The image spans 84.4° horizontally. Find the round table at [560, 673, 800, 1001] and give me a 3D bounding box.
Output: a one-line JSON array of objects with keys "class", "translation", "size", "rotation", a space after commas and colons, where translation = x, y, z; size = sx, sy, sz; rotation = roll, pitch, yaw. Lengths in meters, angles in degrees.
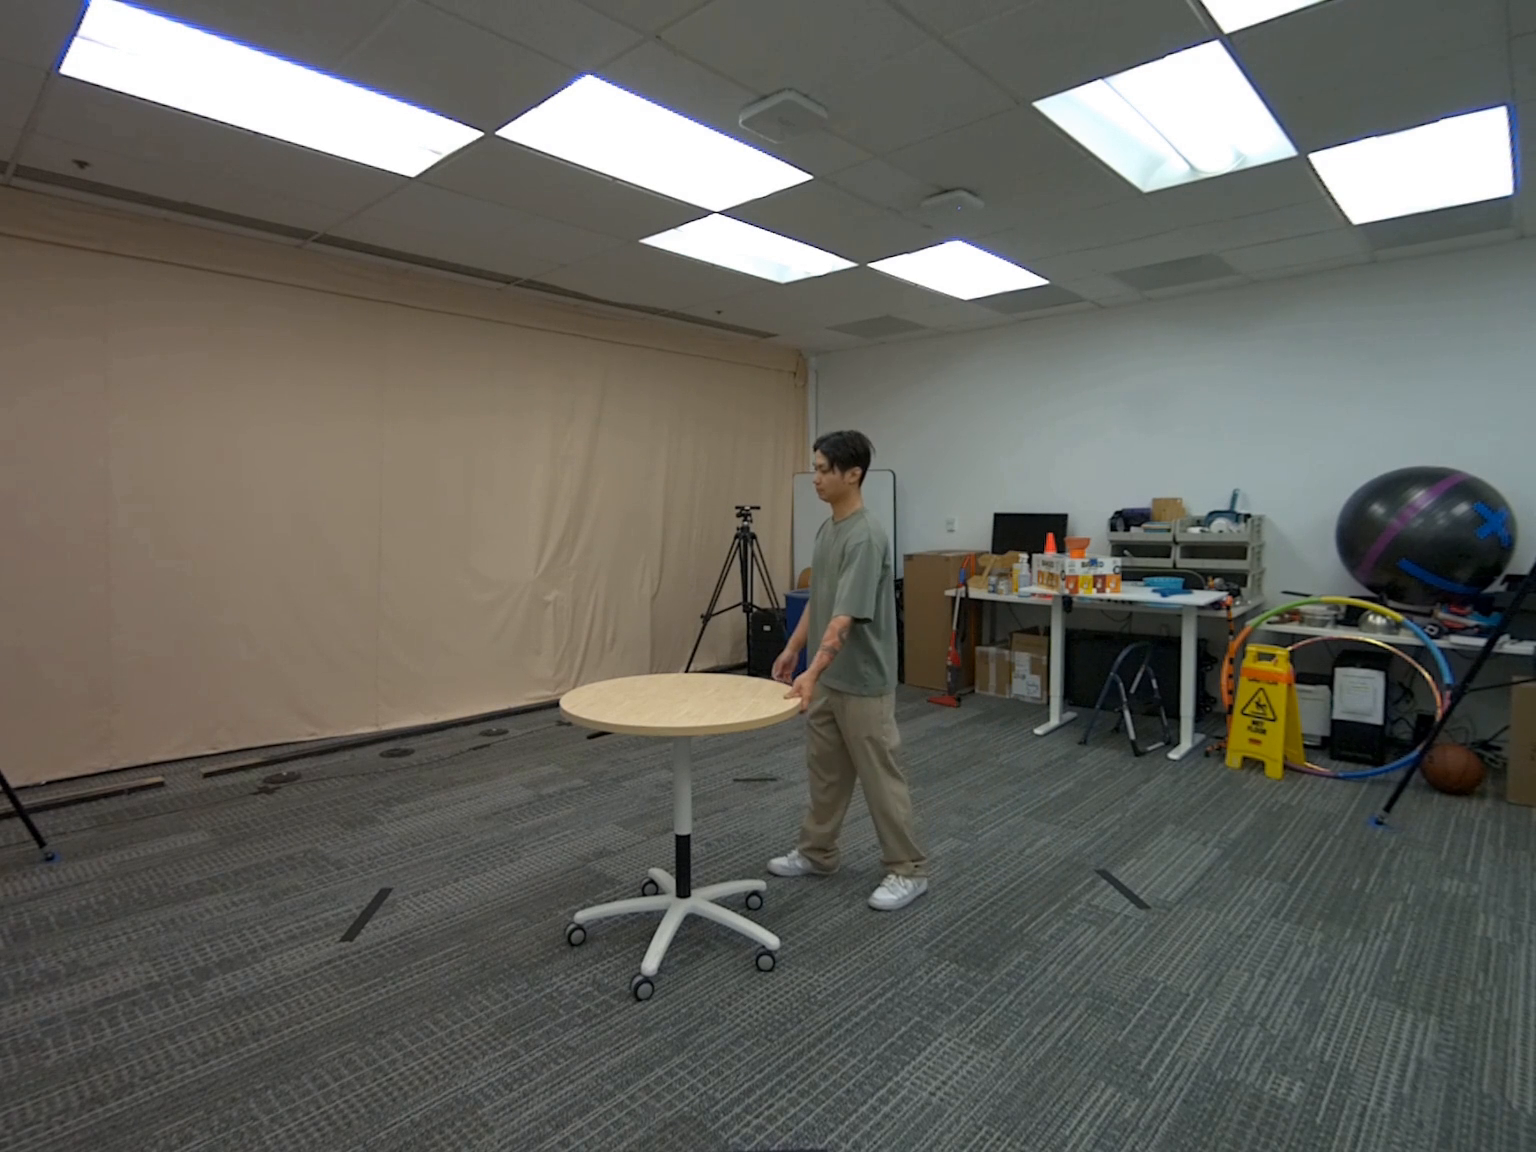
[{"class": "round table", "translation": [-0.263, 0.775, 2.681], "size": [0.784, 0.785, 0.788], "rotation": [-1, 4, -2]}]
